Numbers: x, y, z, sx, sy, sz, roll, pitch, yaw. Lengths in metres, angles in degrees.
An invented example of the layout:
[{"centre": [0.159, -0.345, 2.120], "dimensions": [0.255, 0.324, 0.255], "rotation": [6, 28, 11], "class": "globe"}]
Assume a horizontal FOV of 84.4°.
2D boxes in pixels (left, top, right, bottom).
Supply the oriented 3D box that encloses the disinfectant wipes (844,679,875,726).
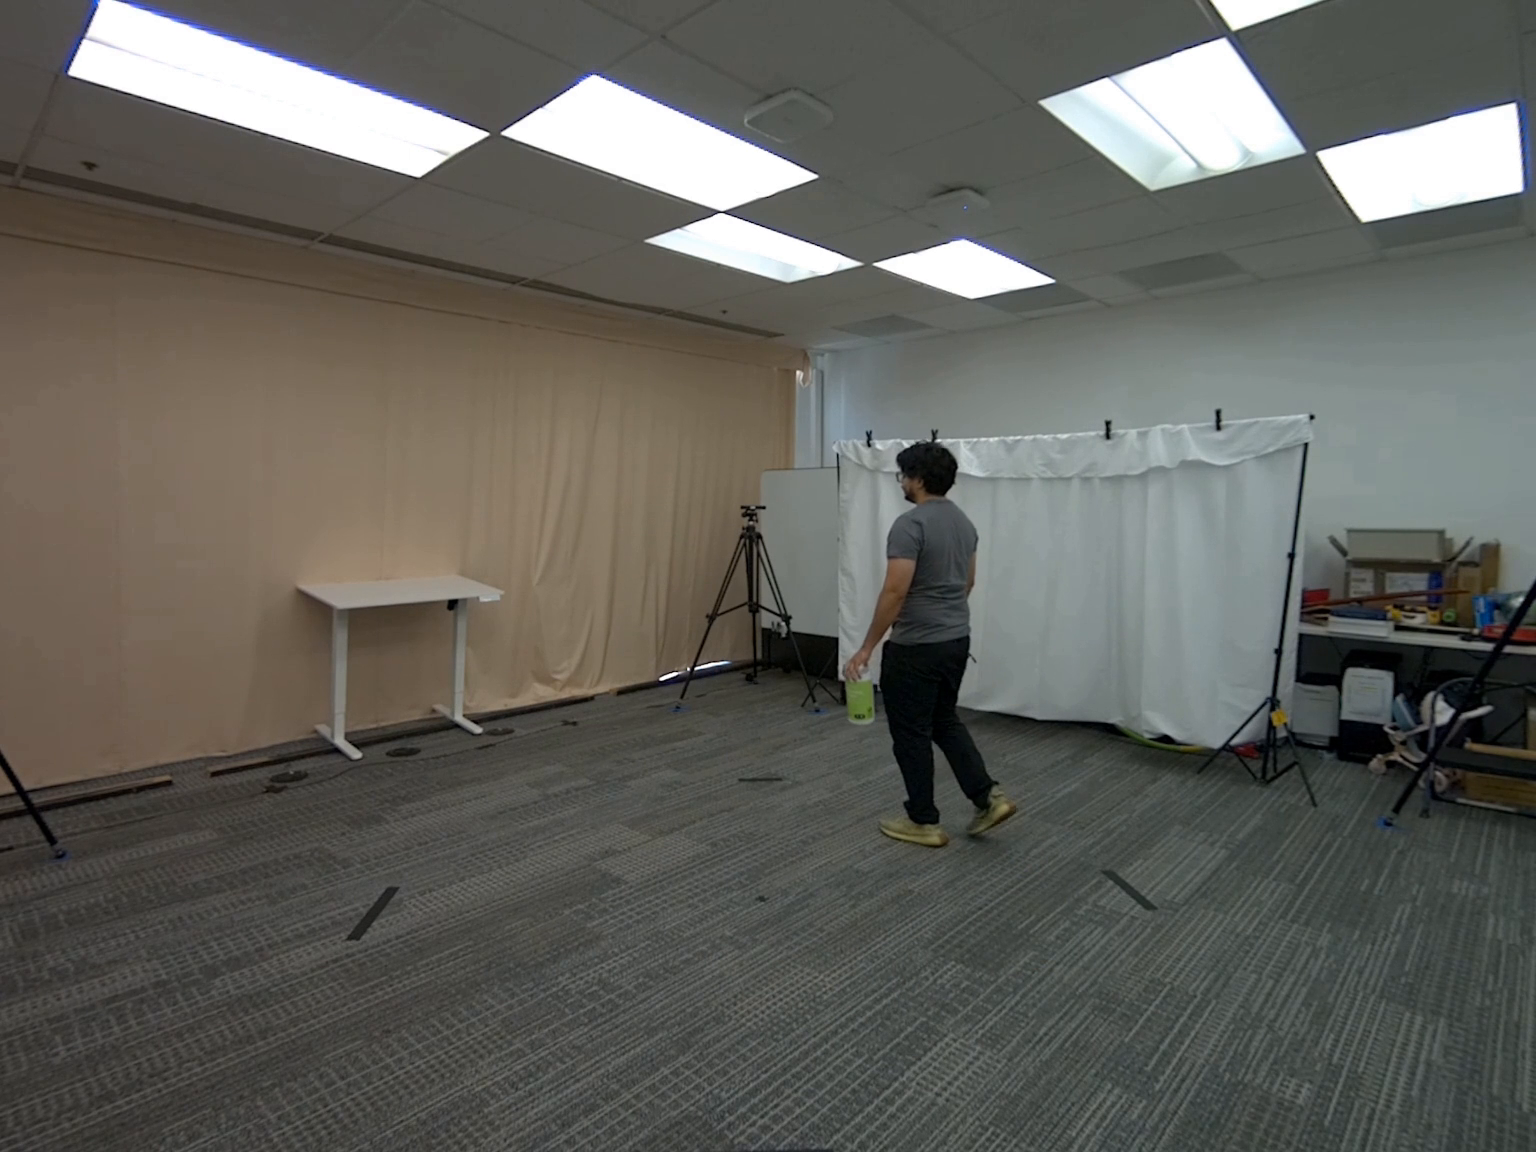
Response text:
[{"centre": [0.385, 0.493, 3.399], "dimensions": [0.118, 0.215, 0.119], "rotation": [-5, 13, -1], "class": "disinfectant wipes"}]
